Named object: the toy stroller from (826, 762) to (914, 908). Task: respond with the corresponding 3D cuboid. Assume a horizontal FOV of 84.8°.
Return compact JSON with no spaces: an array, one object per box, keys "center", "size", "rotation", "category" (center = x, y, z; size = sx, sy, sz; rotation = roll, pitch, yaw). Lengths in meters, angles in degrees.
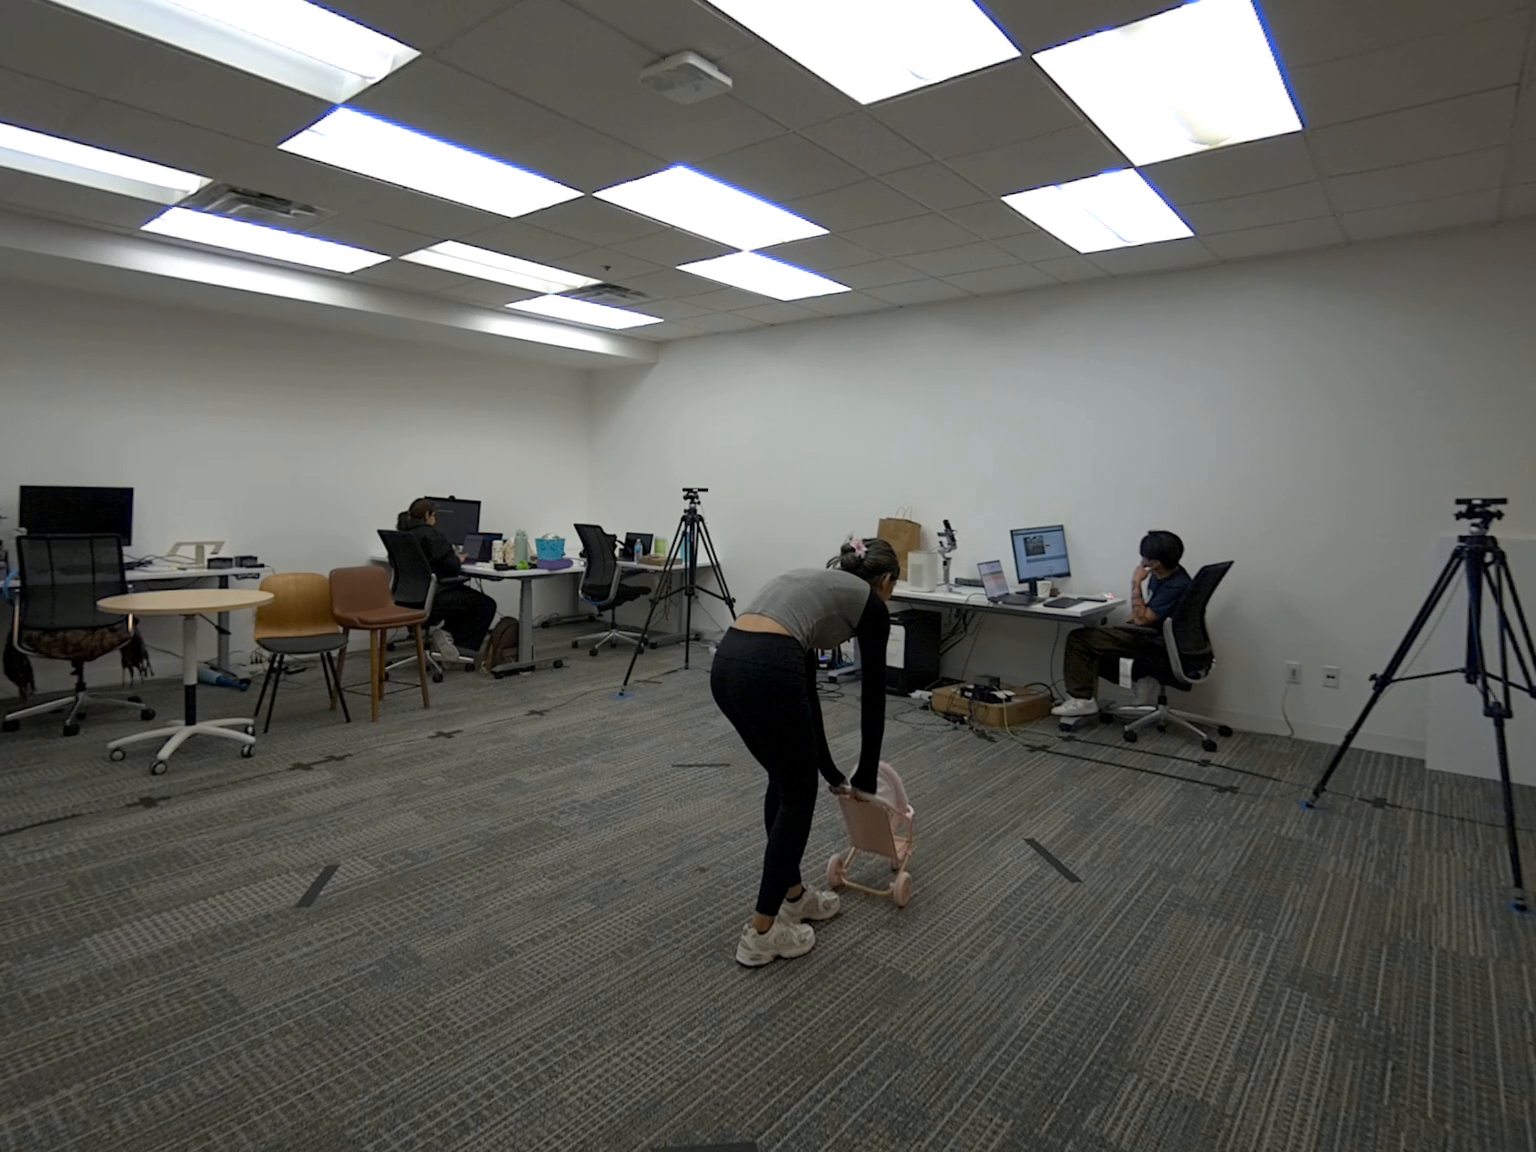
[{"center":[0.373,0.872,2.976],"size":[0.290,0.525,0.337],"rotation":[4,21,34],"category":"toy stroller"}]
